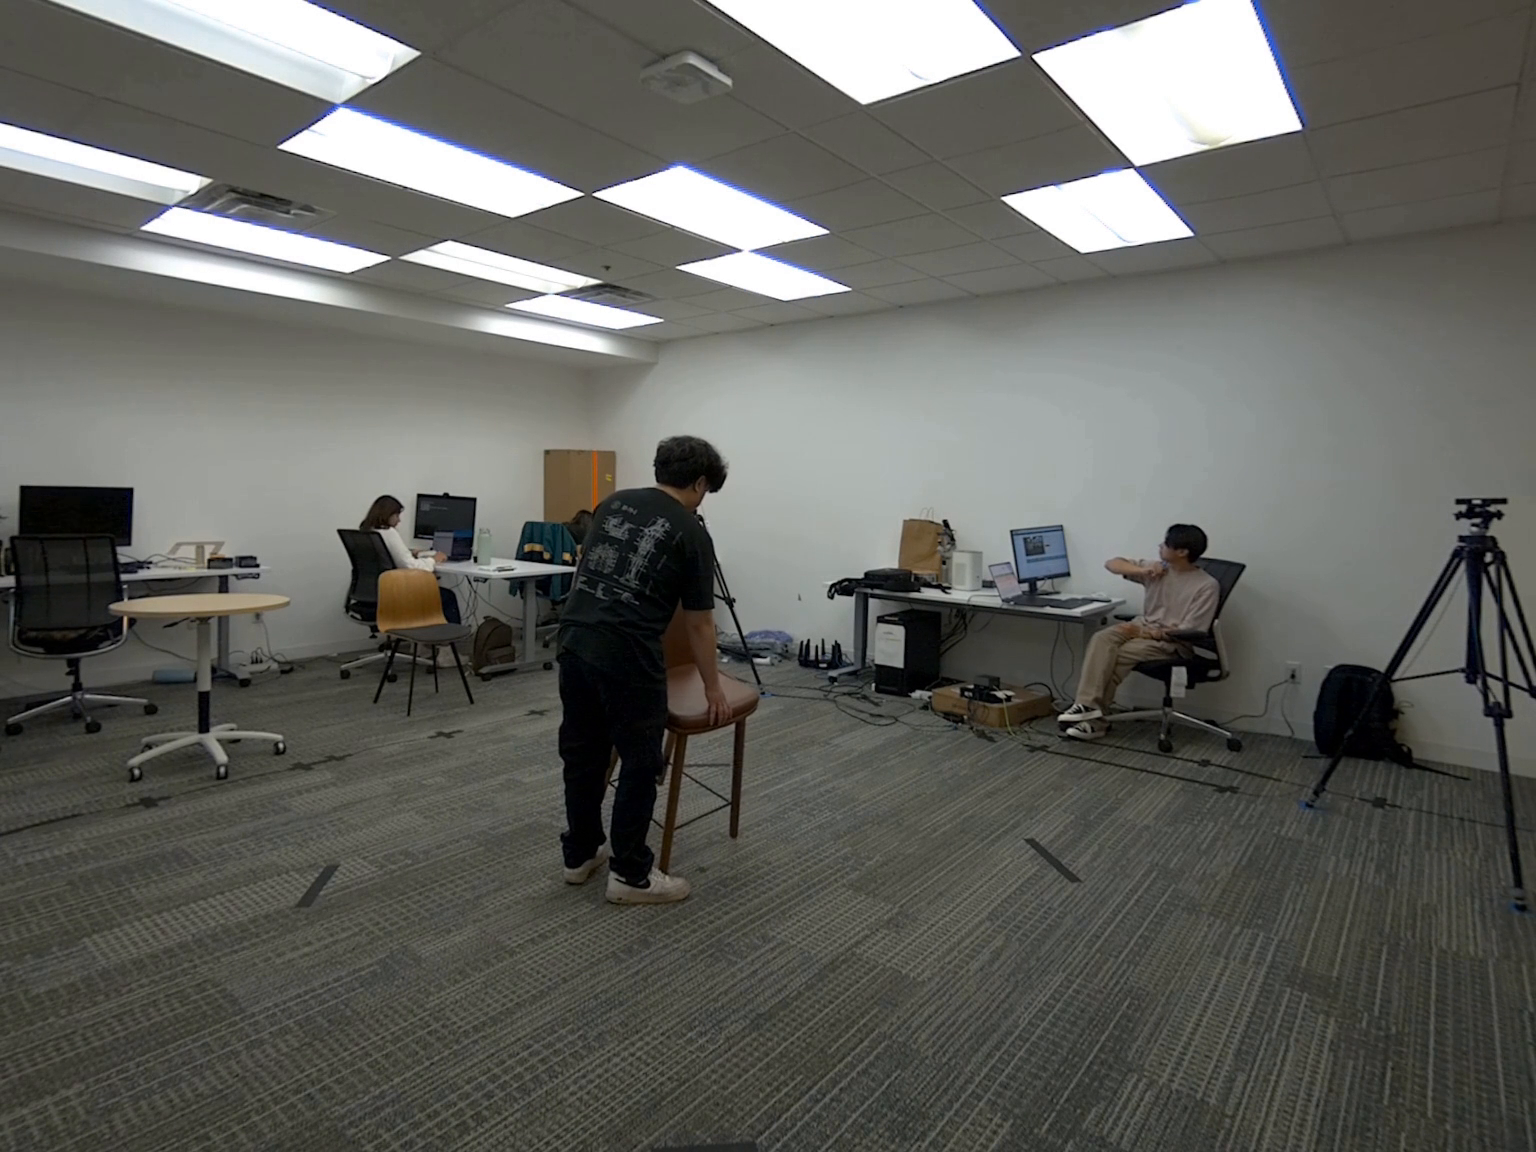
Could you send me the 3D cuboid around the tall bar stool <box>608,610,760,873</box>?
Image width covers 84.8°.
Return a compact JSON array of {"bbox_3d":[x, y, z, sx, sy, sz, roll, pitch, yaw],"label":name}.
[{"bbox_3d":[-0.345,0.566,3.244,0.486,0.880,0.443,22,18,38],"label":"tall bar stool"}]
